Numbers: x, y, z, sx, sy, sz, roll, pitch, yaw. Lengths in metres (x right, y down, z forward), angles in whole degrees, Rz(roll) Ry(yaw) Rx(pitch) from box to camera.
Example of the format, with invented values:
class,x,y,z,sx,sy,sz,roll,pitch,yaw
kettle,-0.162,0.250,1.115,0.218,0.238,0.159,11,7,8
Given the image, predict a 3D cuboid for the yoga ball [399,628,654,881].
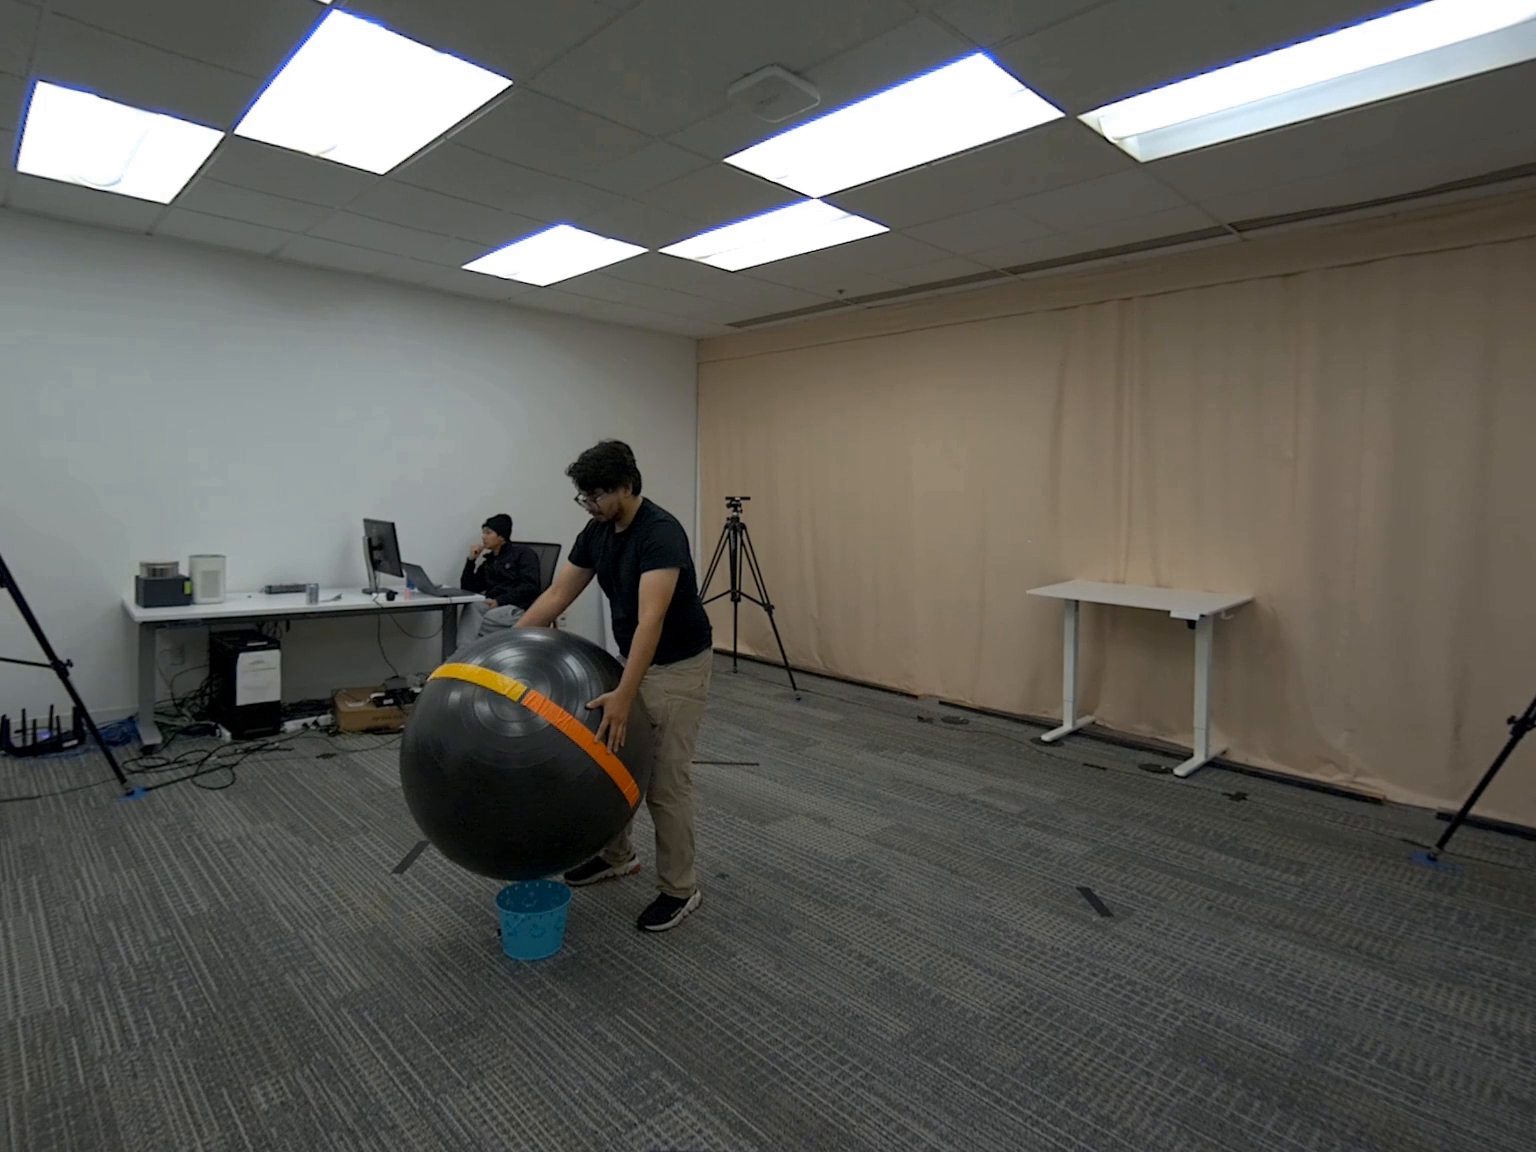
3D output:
class,x,y,z,sx,sy,sz,roll,pitch,yaw
yoga ball,-0.747,0.542,2.611,0.757,0.756,0.761,1,4,-1
